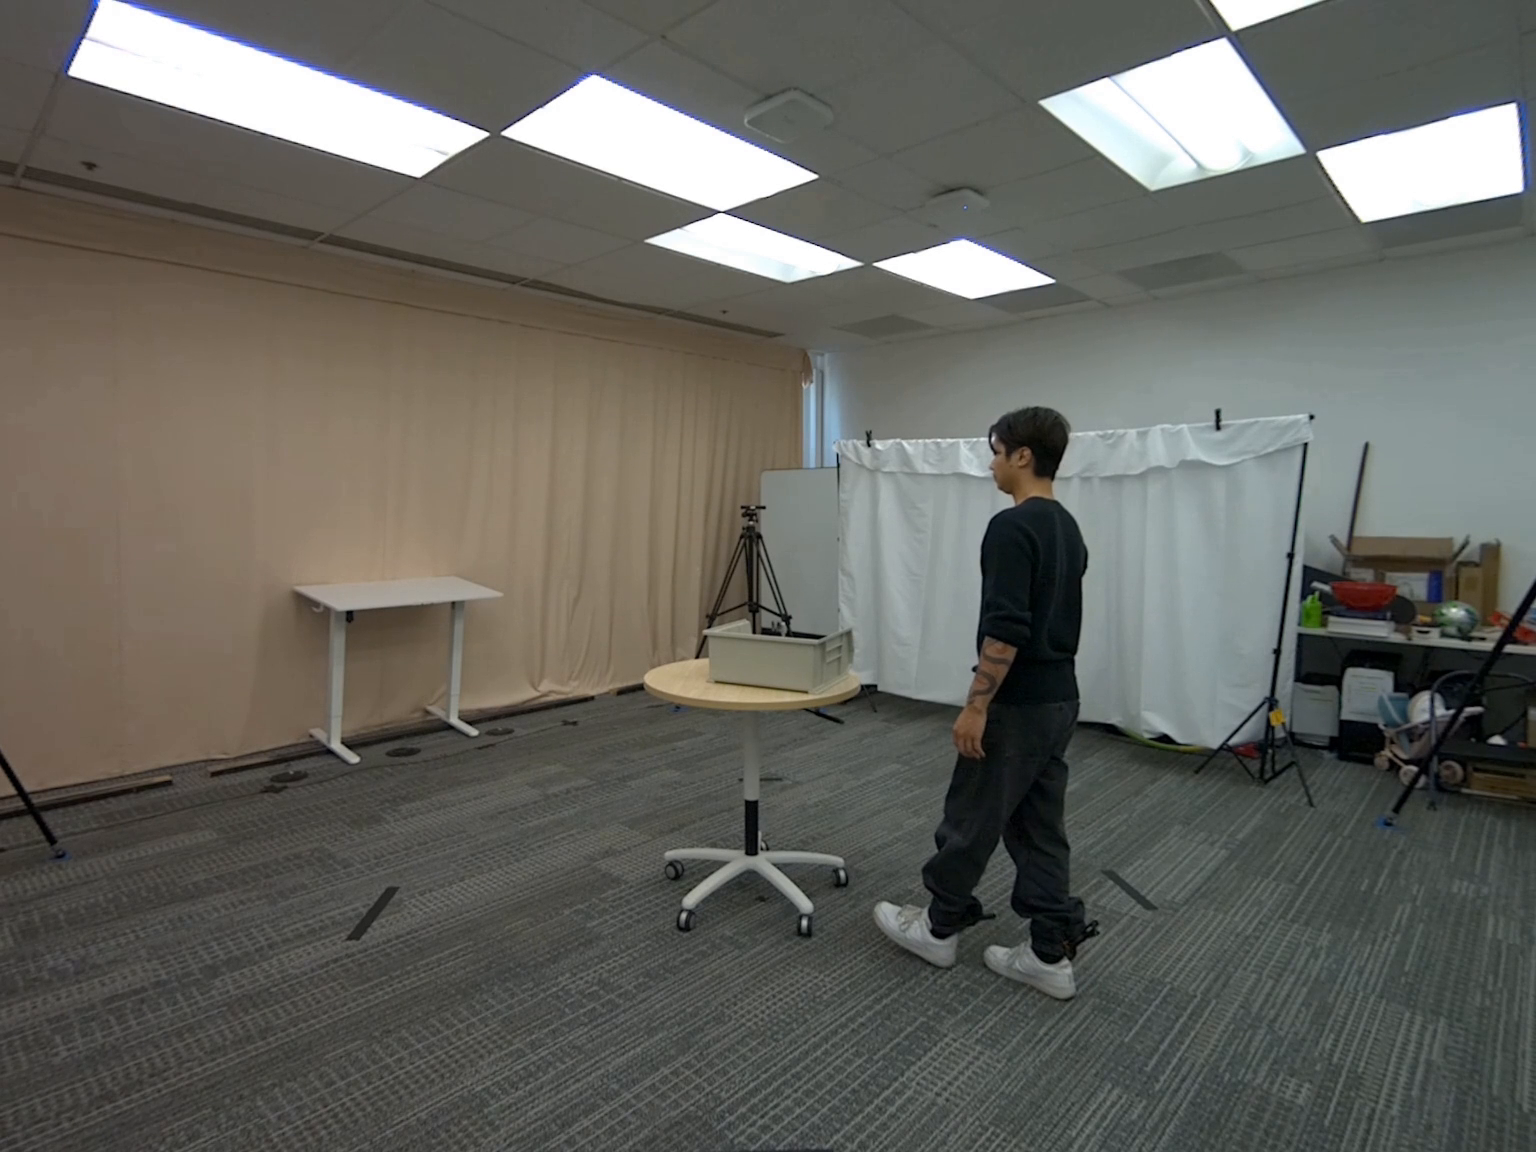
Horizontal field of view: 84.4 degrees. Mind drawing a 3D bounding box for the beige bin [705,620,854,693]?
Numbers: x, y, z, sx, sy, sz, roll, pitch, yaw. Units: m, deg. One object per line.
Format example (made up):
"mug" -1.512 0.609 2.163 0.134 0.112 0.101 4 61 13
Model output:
"beige bin" 0.048 0.272 2.953 0.433 0.188 0.369 3 7 26
